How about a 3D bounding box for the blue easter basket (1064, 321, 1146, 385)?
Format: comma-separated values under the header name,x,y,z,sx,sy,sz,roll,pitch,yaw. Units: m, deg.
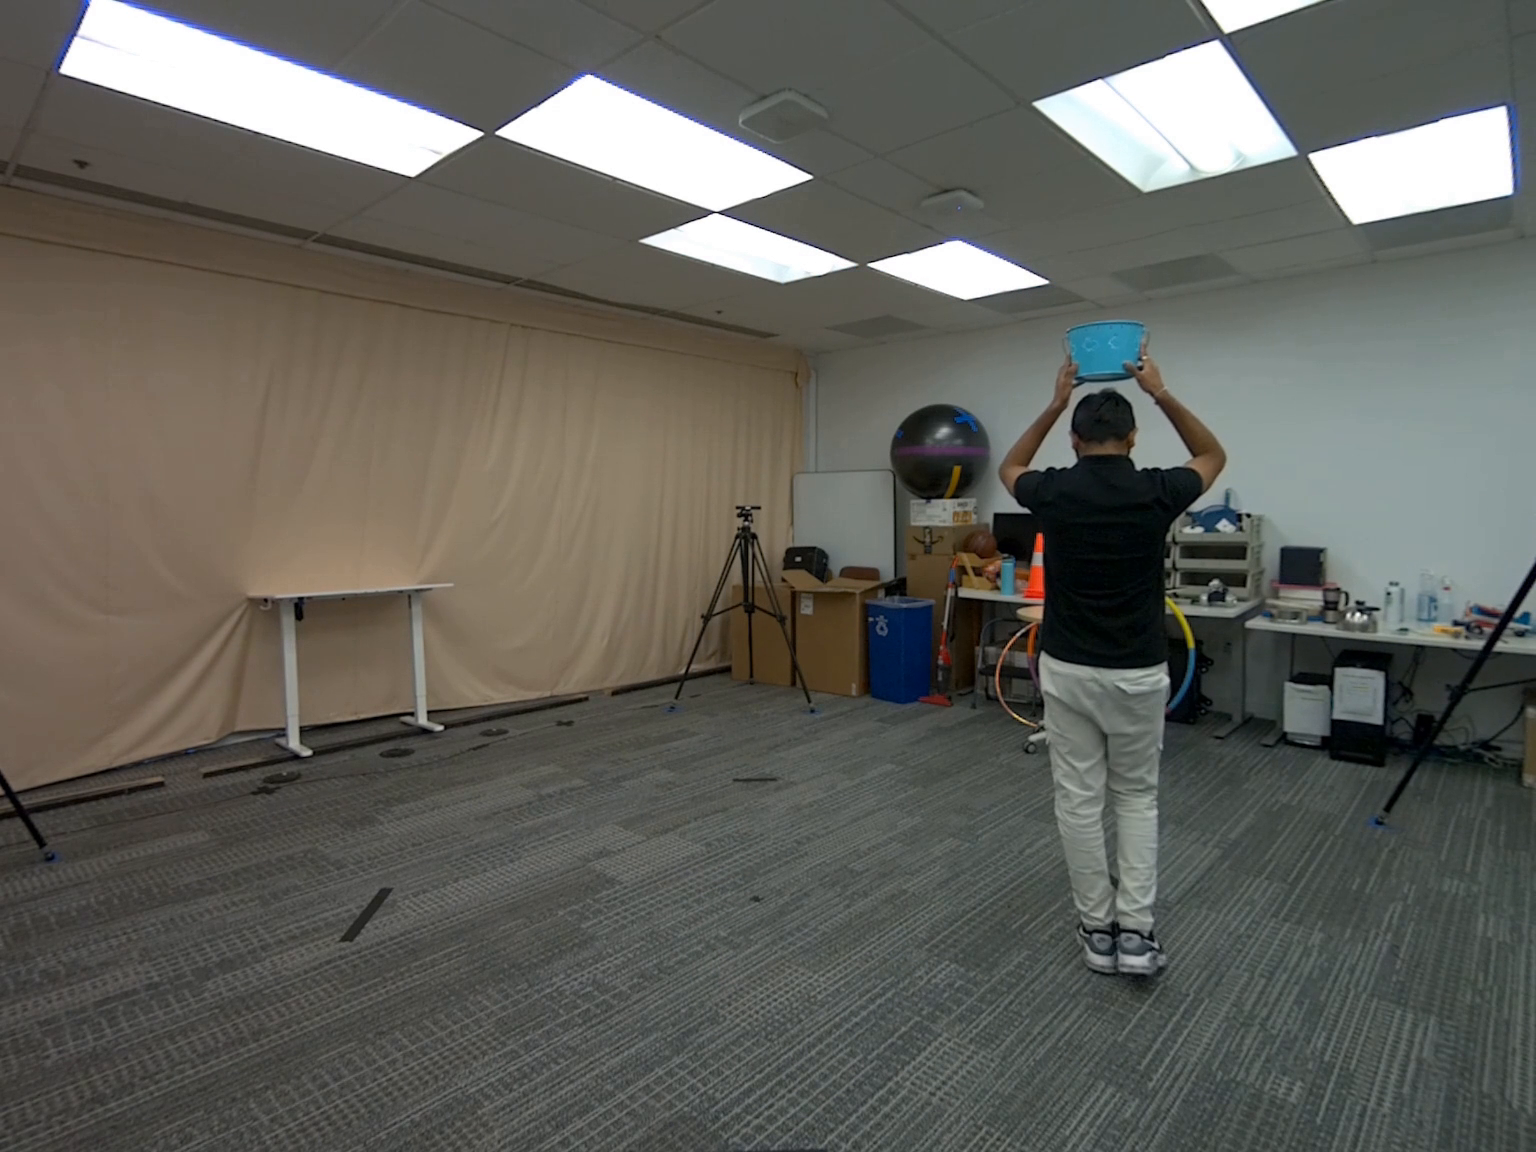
name,x,y,z,sx,sy,sz,roll,pitch,yaw
blue easter basket,1.099,-0.702,2.664,0.243,0.155,0.244,4,3,-2
